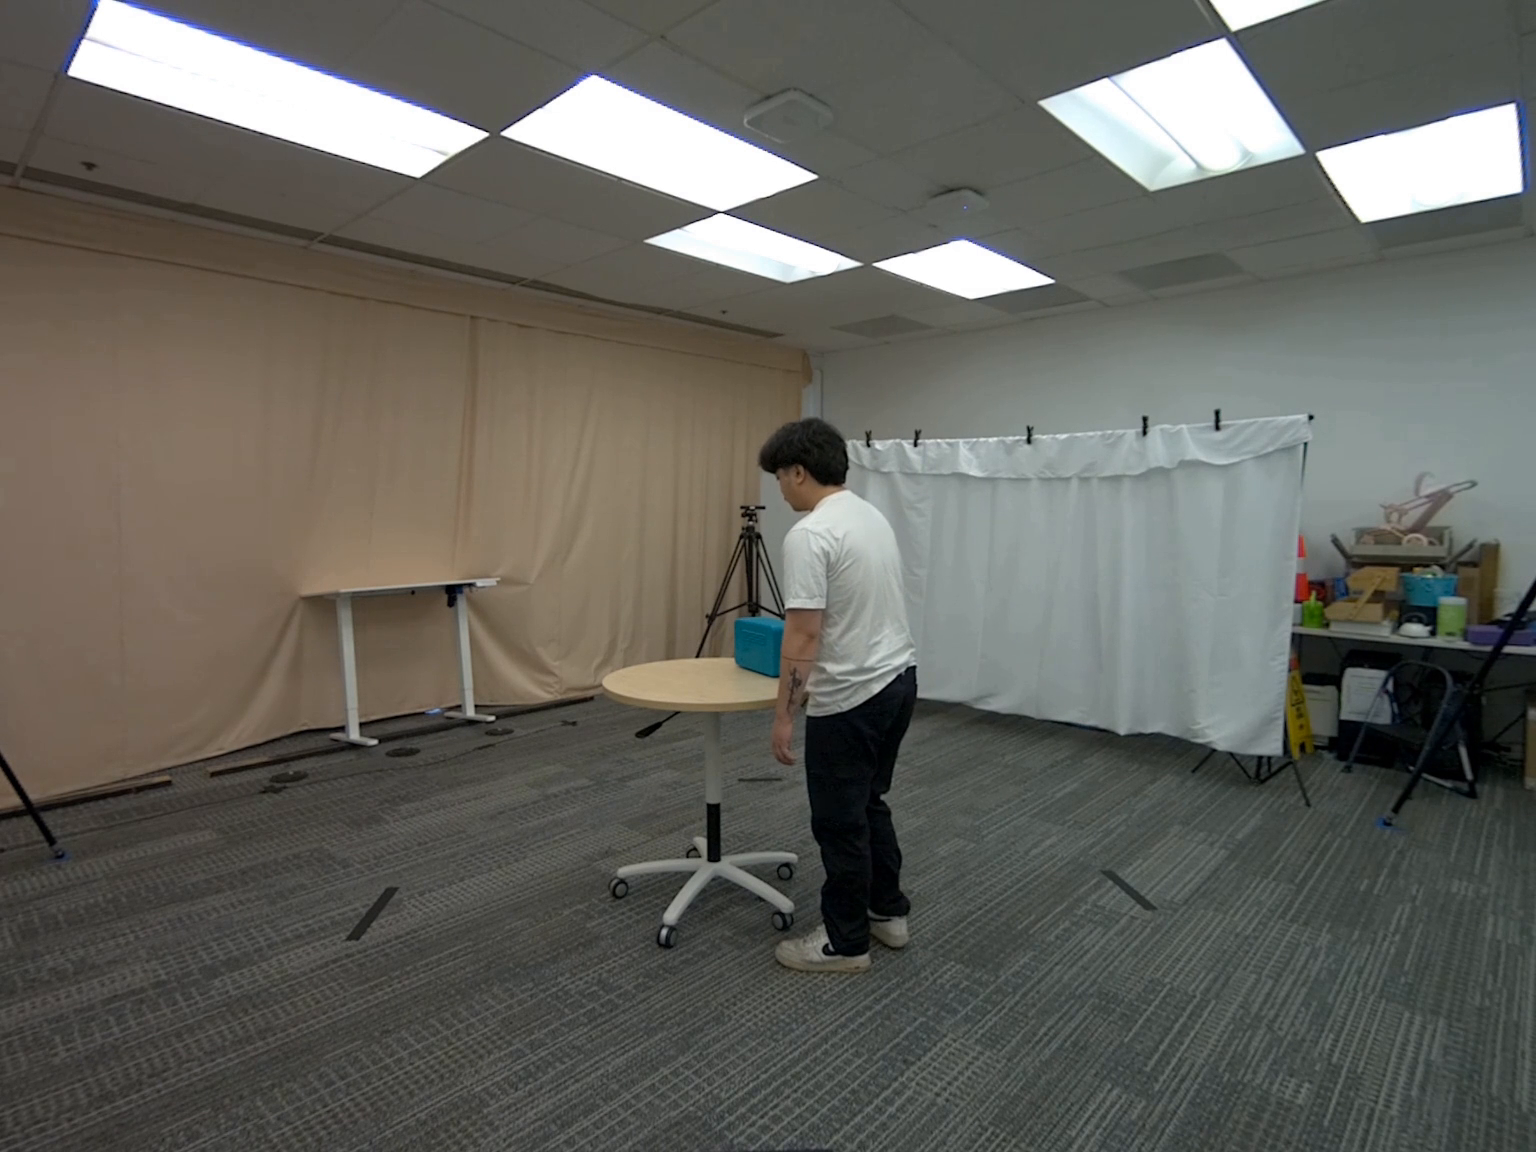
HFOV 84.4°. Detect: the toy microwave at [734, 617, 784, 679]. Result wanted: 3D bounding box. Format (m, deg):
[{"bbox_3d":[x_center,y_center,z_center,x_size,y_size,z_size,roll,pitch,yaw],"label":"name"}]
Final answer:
[{"bbox_3d":[0.015,0.253,3.060,0.148,0.183,0.295,-4,6,-32],"label":"toy microwave"}]
